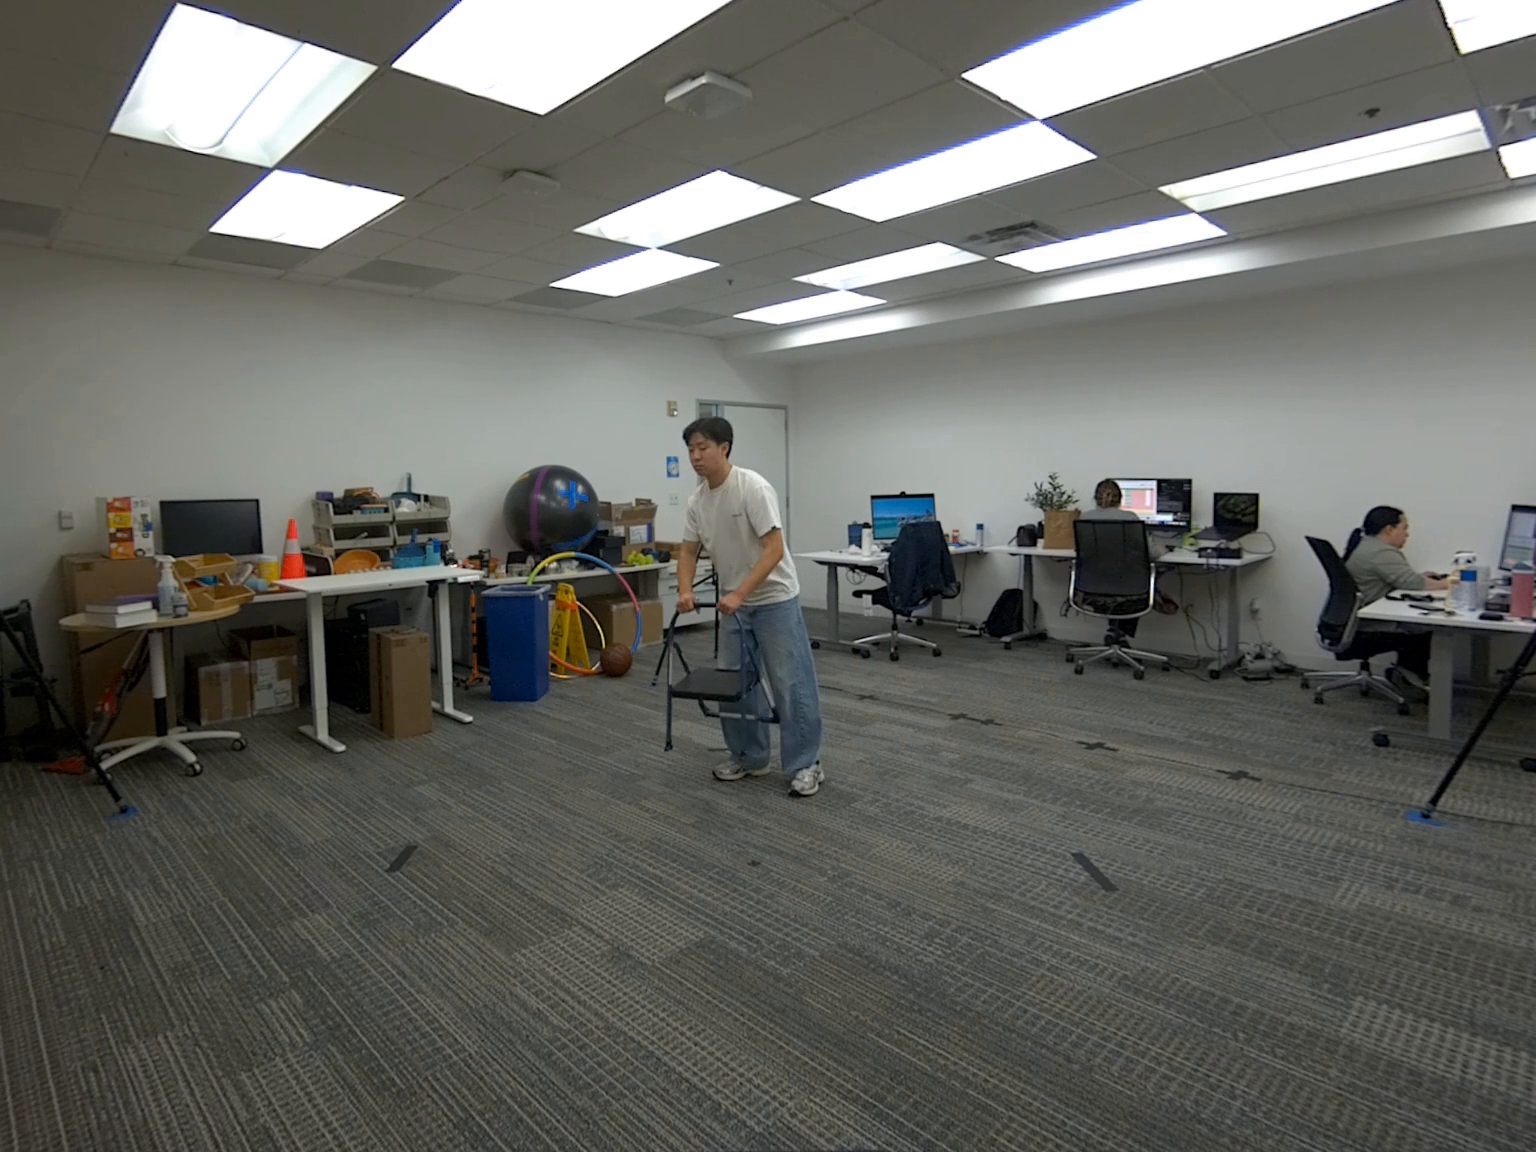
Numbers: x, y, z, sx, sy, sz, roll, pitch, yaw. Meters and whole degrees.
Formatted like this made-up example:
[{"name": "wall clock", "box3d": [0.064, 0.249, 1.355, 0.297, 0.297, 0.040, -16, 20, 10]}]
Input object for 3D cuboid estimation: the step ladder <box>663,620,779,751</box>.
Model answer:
[{"name": "step ladder", "box3d": [-0.258, 0.449, 3.748, 0.442, 0.597, 0.345, -1, 17, 32]}]
